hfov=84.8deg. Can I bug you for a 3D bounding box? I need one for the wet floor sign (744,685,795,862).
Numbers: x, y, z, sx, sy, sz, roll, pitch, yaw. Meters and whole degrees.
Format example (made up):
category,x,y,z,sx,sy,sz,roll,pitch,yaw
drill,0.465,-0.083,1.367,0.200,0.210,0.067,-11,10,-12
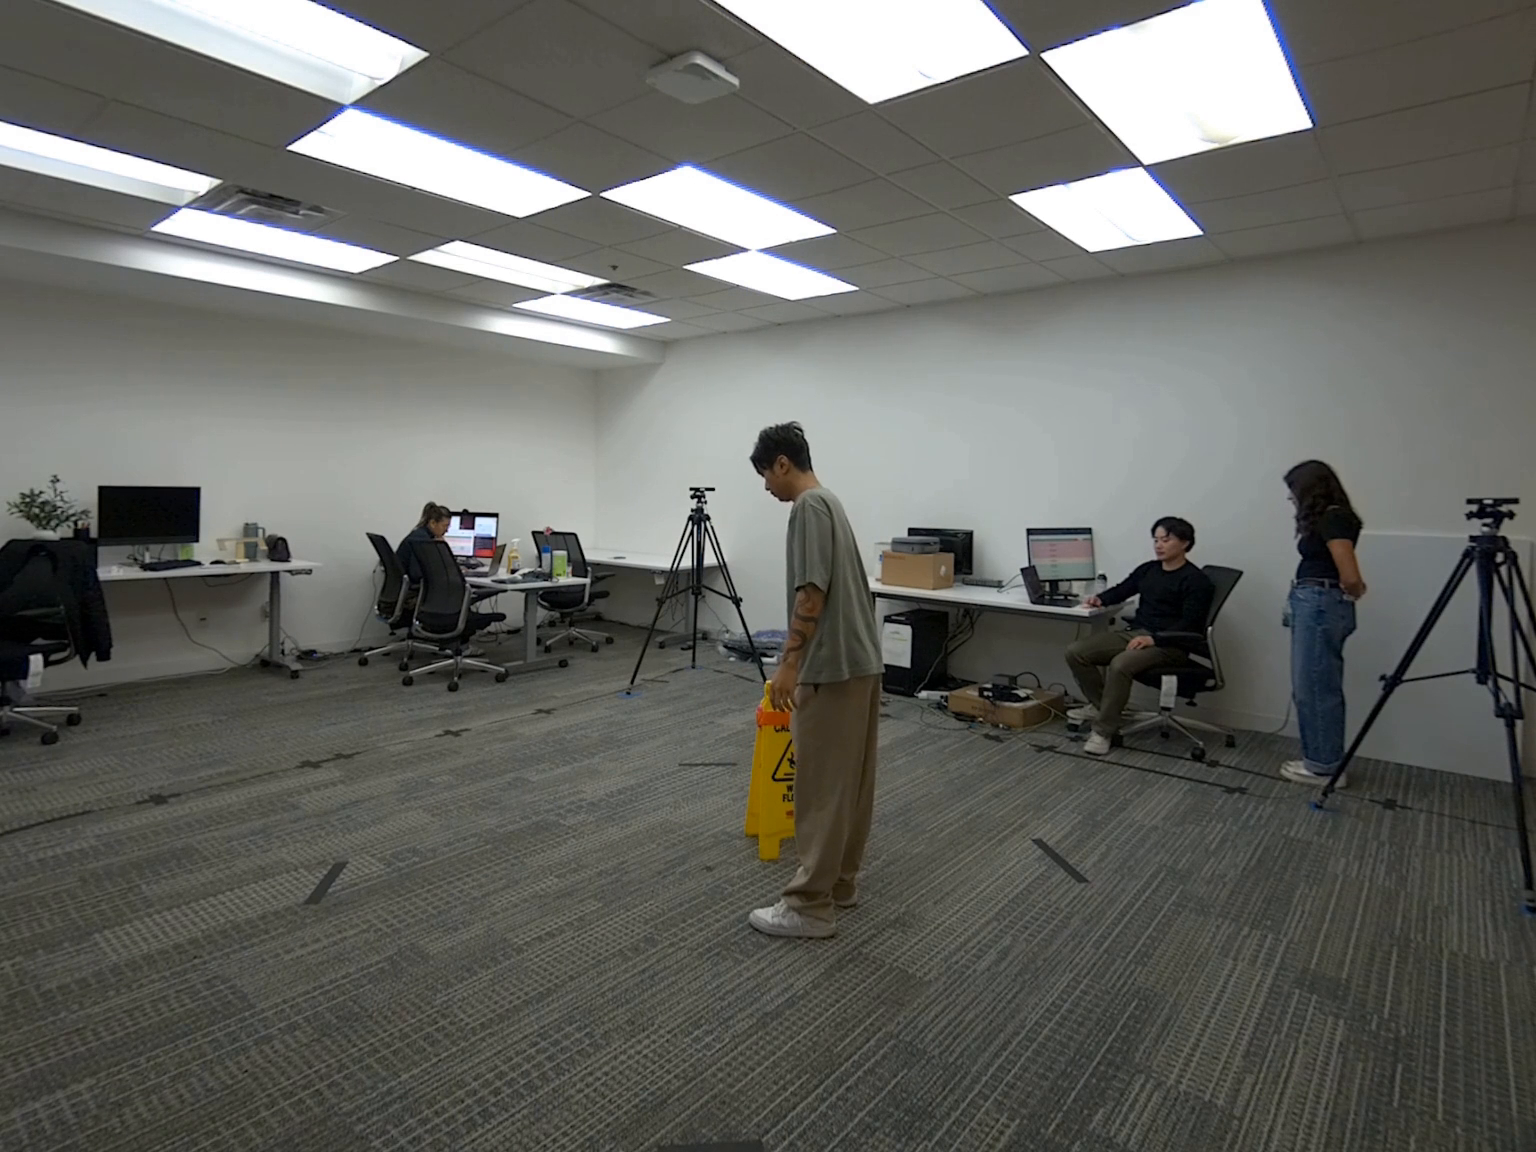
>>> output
category,x,y,z,sx,sy,sz,roll,pitch,yaw
wet floor sign,0.075,0.728,3.323,0.279,0.646,0.294,2,1,-12
